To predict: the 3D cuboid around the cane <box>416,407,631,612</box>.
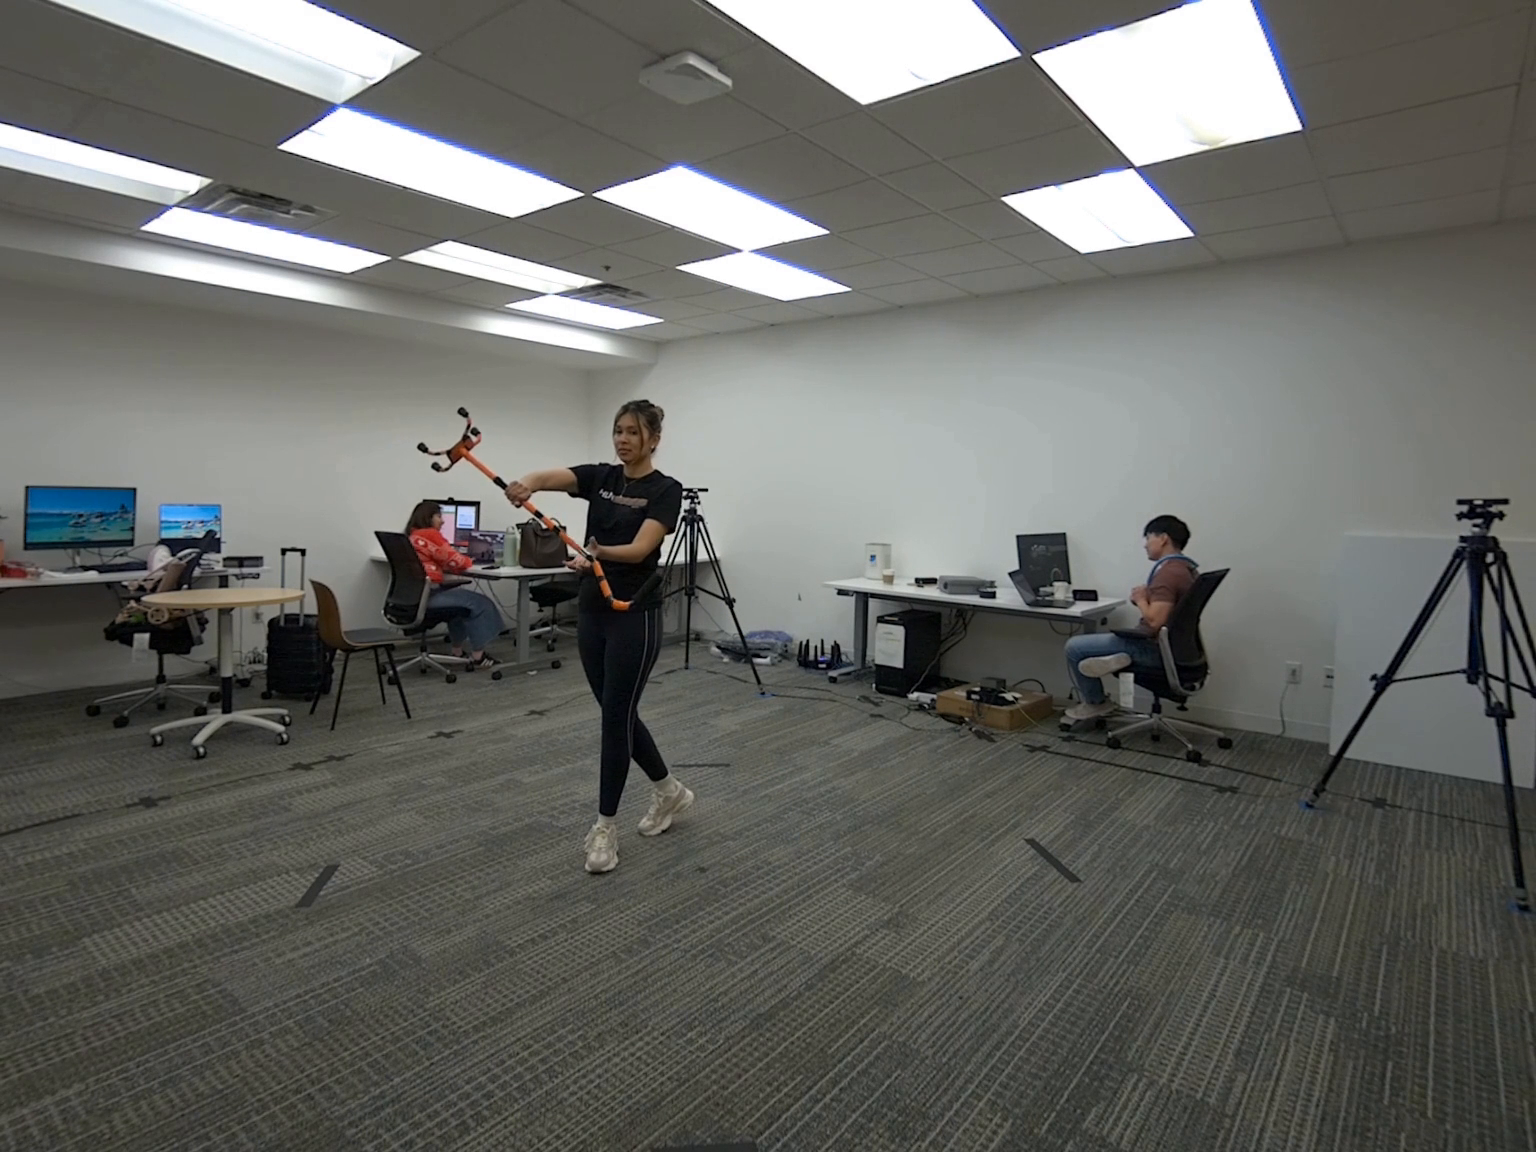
[{"bbox_3d":[-0.739,-0.189,2.701,0.932,0.206,0.148,38,-14,18],"label":"cane"}]
